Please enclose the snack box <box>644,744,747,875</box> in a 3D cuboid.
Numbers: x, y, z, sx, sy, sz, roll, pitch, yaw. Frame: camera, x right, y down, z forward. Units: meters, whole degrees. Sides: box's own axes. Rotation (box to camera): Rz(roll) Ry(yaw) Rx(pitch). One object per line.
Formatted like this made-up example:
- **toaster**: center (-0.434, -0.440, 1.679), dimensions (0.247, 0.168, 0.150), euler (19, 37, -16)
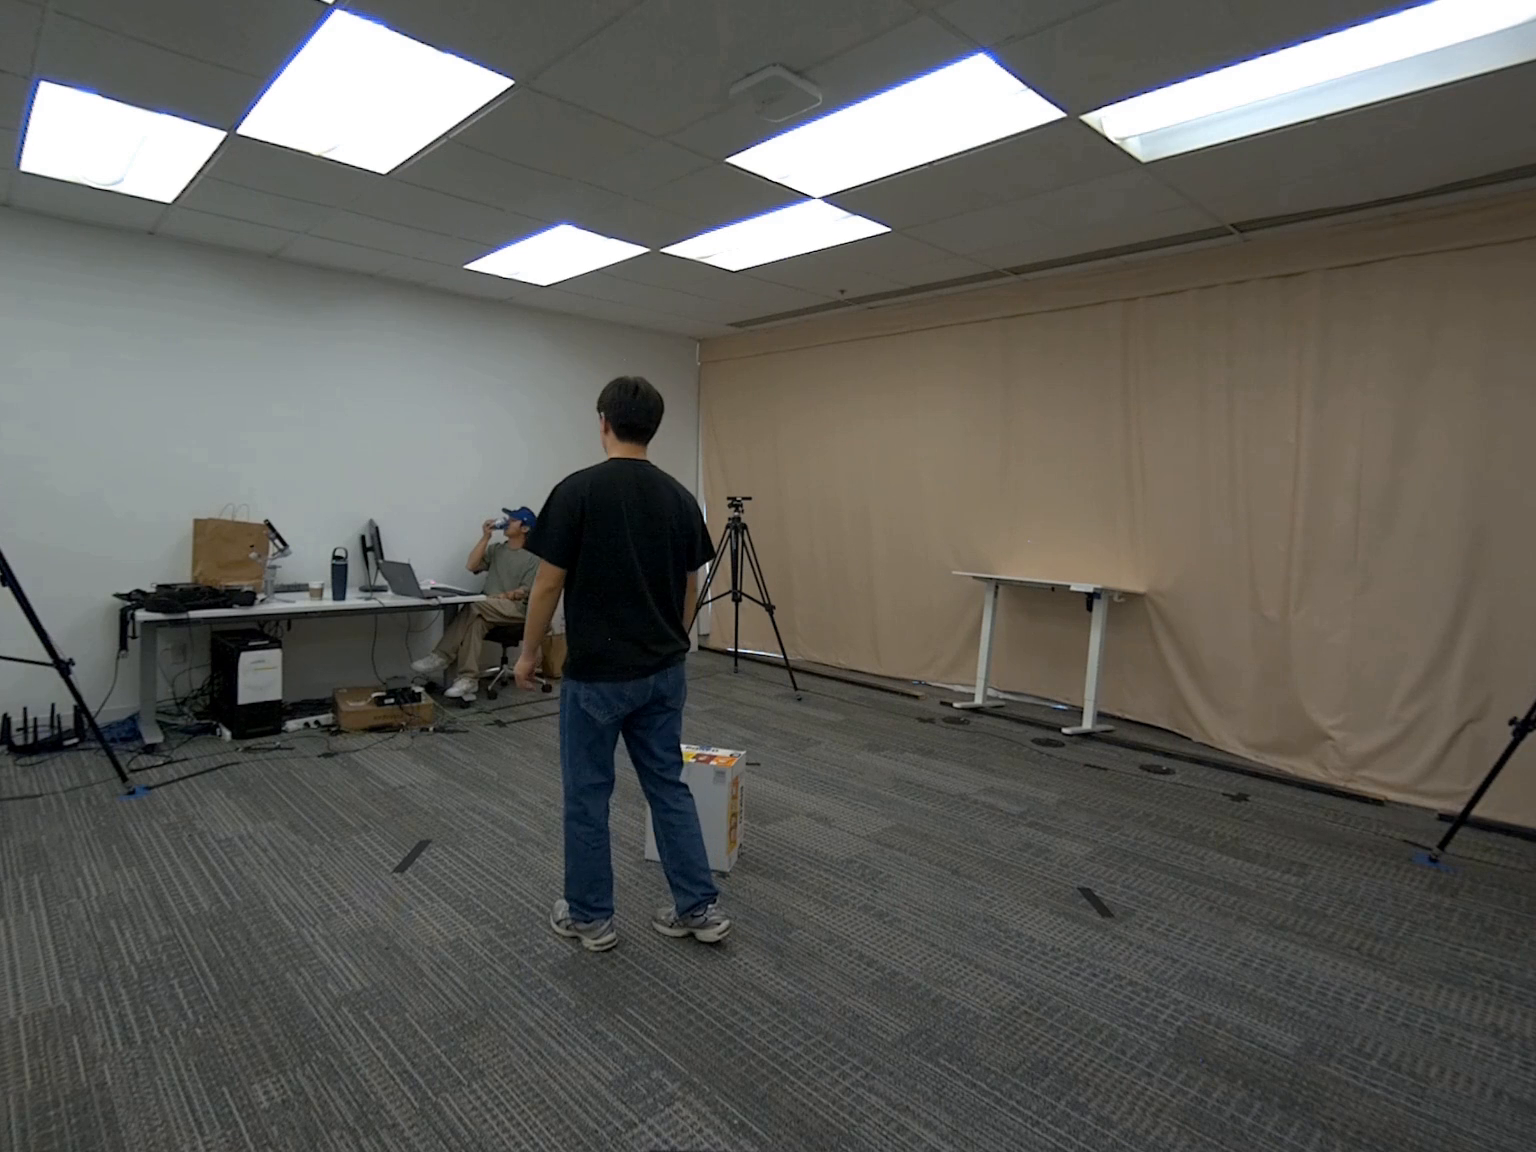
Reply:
- **snack box**: center (-0.284, 0.887, 3.255), dimensions (0.345, 0.404, 0.203), euler (3, 3, 16)
